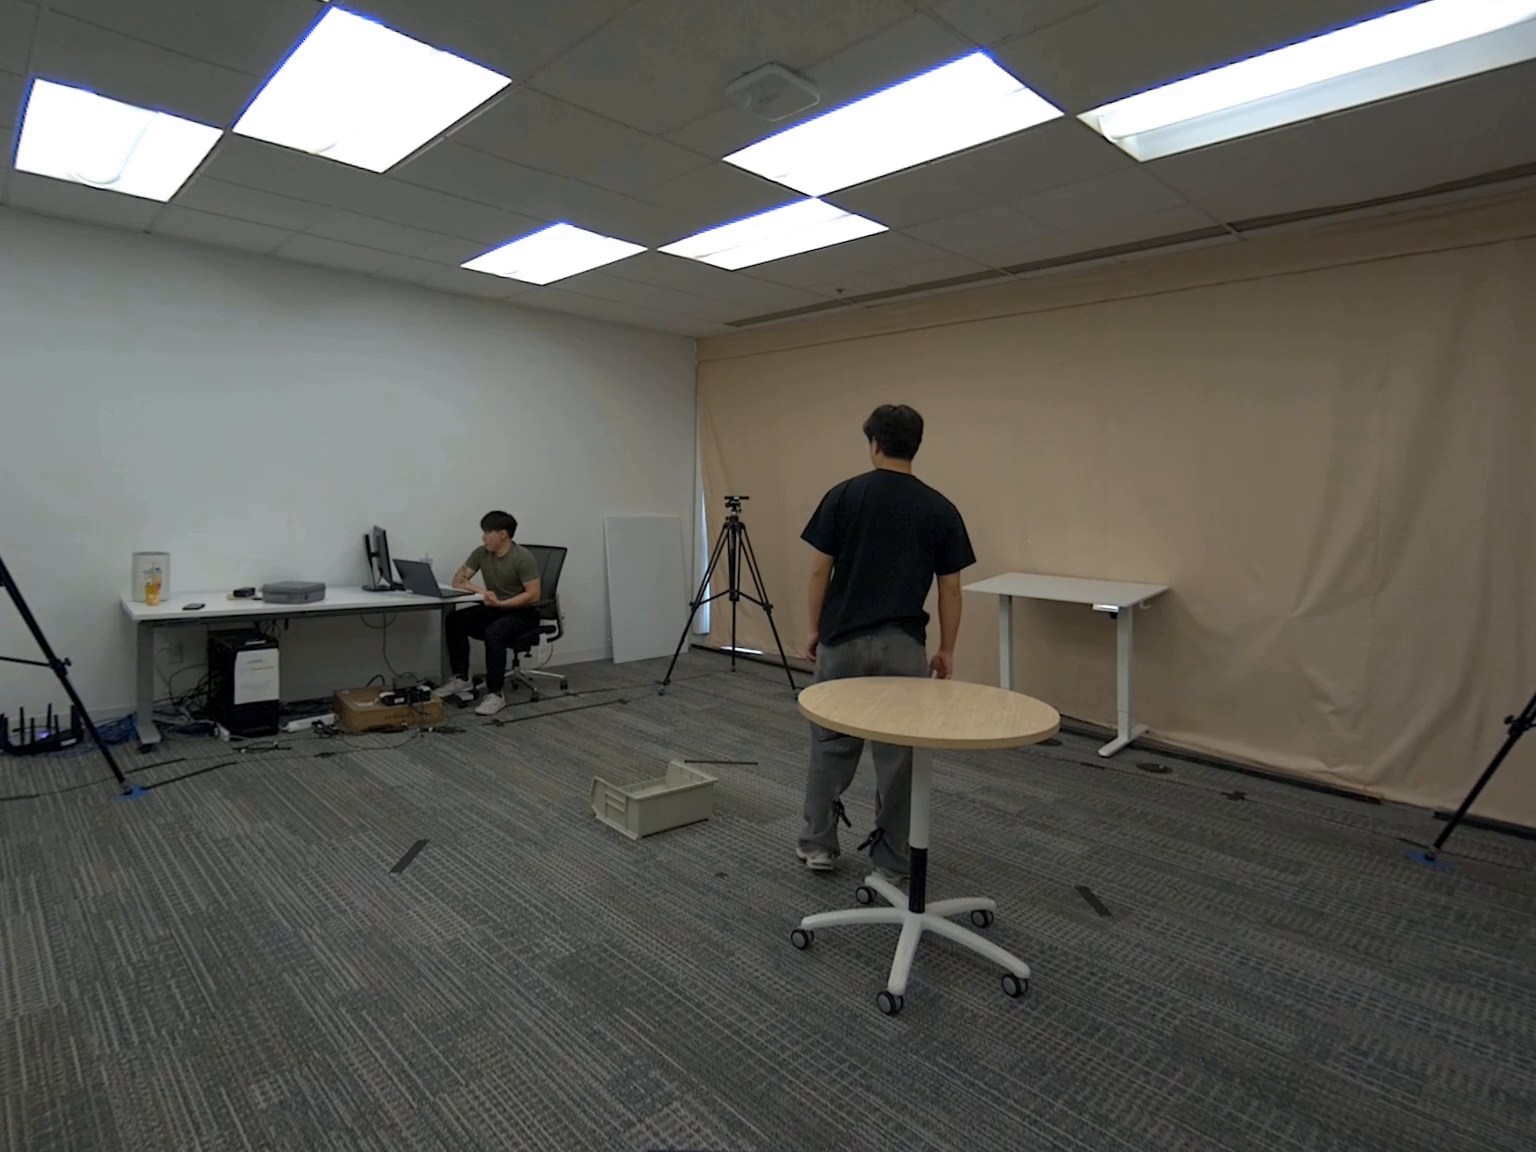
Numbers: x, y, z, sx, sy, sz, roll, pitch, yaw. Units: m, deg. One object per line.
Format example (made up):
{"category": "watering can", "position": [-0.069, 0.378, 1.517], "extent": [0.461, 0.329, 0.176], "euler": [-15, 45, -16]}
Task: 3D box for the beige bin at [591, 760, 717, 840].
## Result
{"category": "beige bin", "position": [-0.506, 0.958, 3.657], "extent": [0.413, 0.188, 0.387], "euler": [-2, 7, -41]}
